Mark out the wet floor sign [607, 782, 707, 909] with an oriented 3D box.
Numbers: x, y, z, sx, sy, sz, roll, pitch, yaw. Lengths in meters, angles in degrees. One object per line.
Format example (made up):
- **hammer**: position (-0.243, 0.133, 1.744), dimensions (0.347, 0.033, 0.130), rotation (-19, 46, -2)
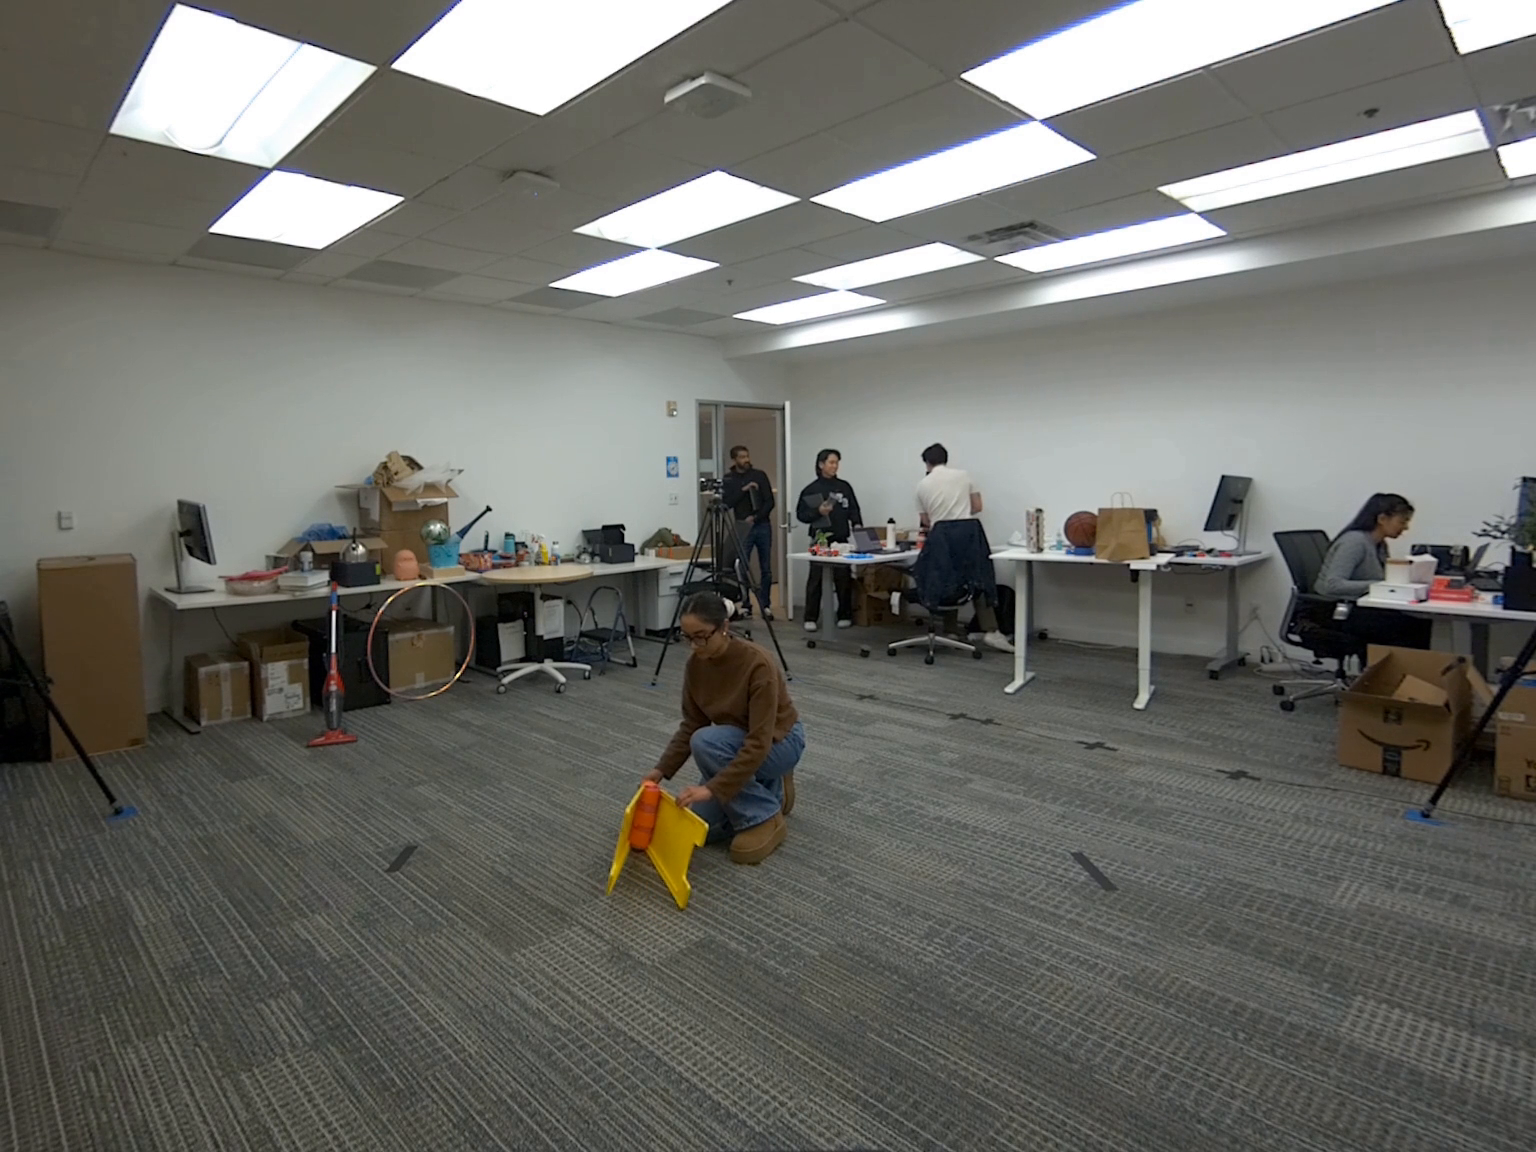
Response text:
- **wet floor sign**: position (-0.428, 0.918, 3.081), dimensions (0.286, 0.283, 0.652), rotation (15, -3, -12)
